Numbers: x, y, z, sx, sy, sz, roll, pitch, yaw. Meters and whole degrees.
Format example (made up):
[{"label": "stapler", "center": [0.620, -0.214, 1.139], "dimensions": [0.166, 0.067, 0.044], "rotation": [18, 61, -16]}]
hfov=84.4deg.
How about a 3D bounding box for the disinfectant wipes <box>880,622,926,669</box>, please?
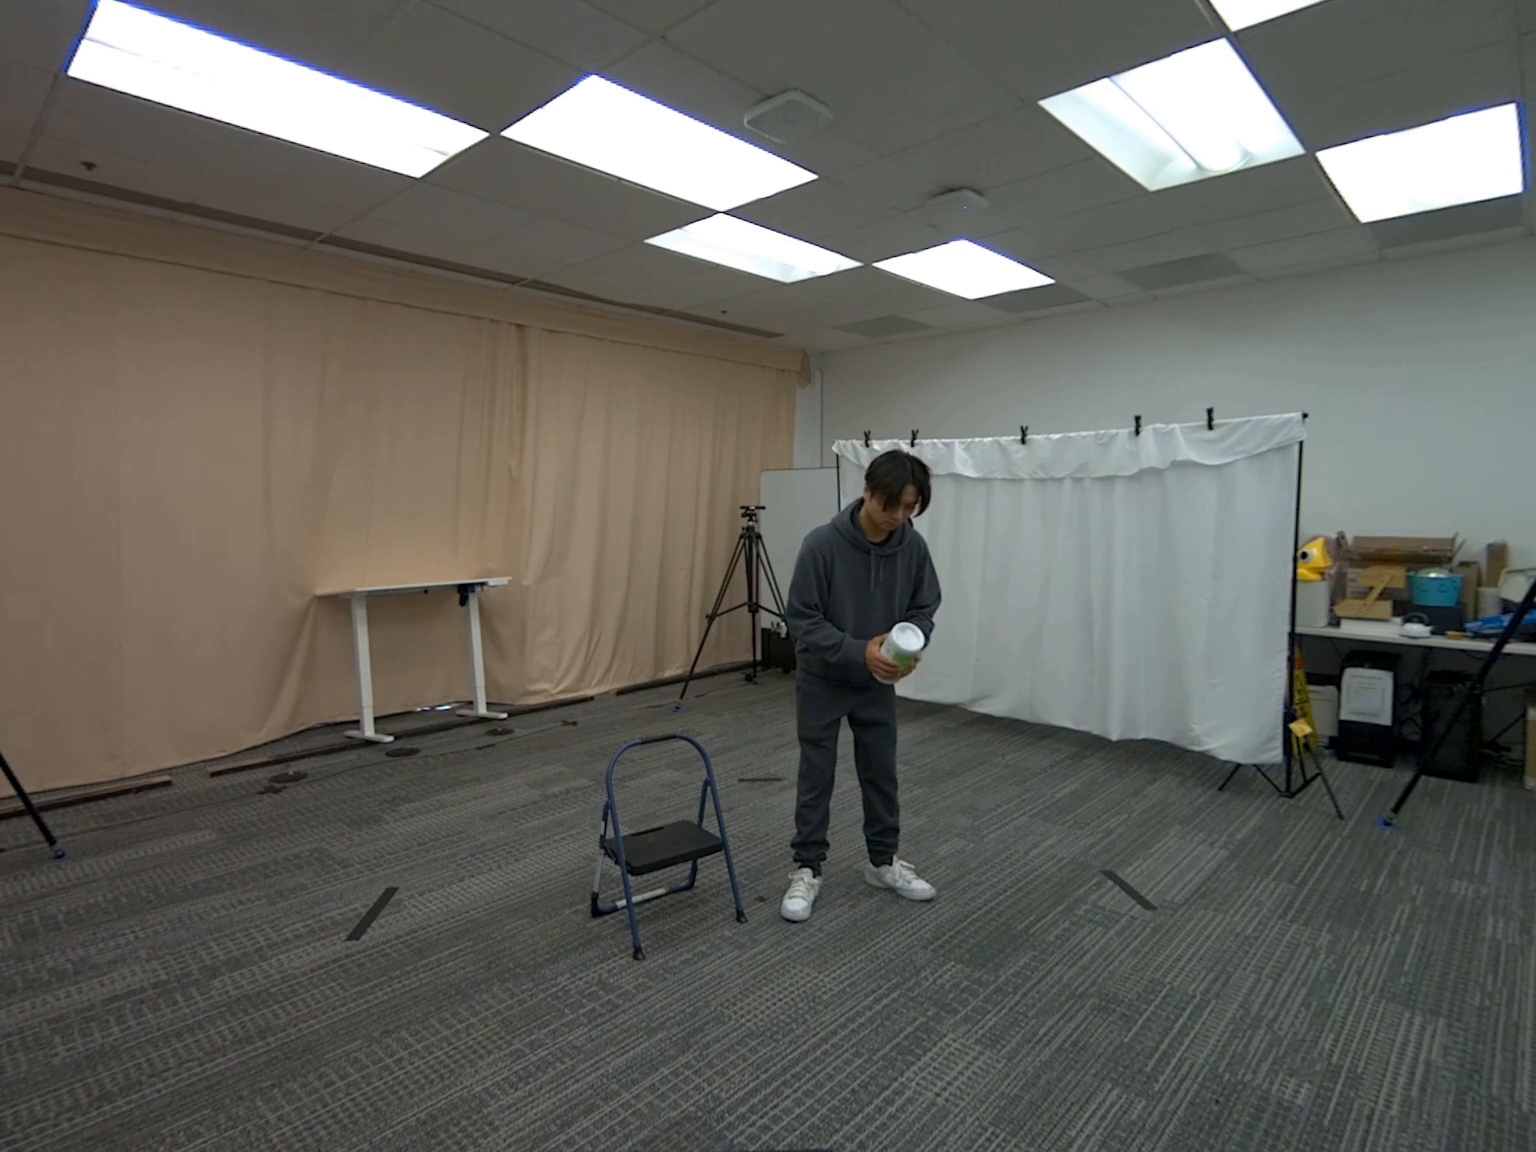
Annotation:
[{"label": "disinfectant wipes", "center": [0.423, 0.237, 2.725], "dimensions": [0.118, 0.119, 0.214], "rotation": [0, -26, -1]}]
